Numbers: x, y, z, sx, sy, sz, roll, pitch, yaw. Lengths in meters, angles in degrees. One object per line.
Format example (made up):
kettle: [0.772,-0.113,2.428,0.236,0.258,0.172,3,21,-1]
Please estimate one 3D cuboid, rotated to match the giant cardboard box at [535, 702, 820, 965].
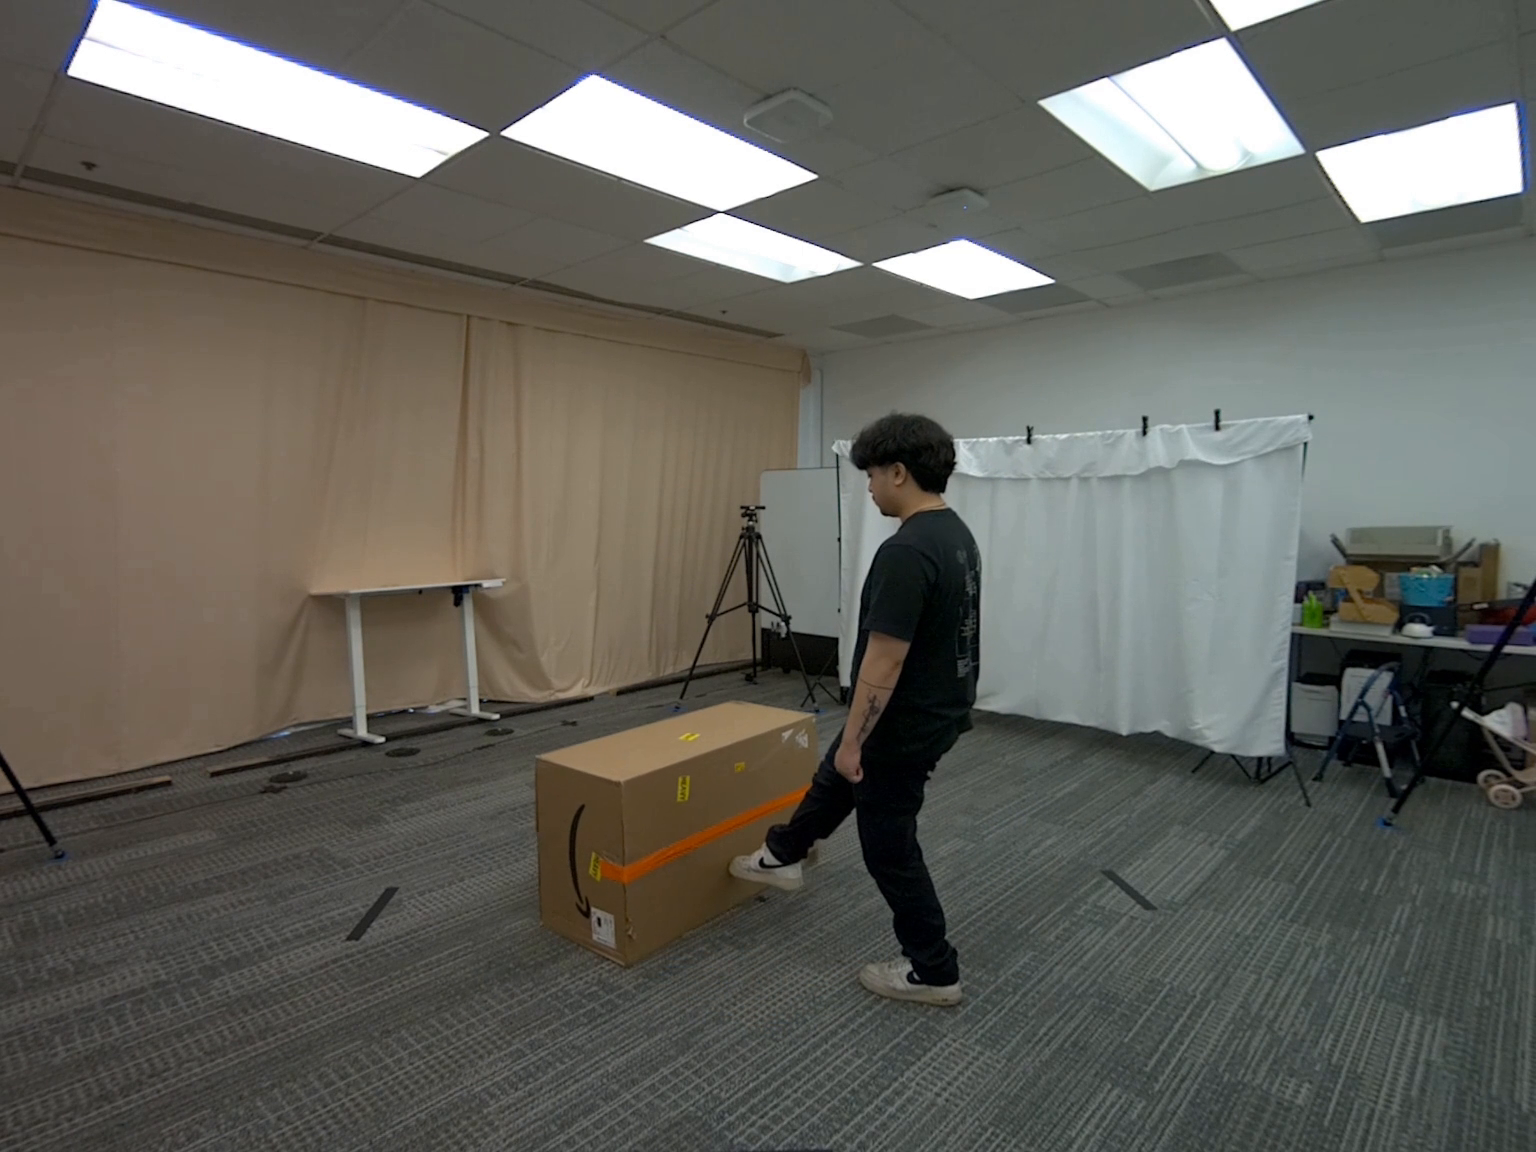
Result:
giant cardboard box: [-0.282,0.856,3.036,0.461,0.582,0.997,3,6,39]
